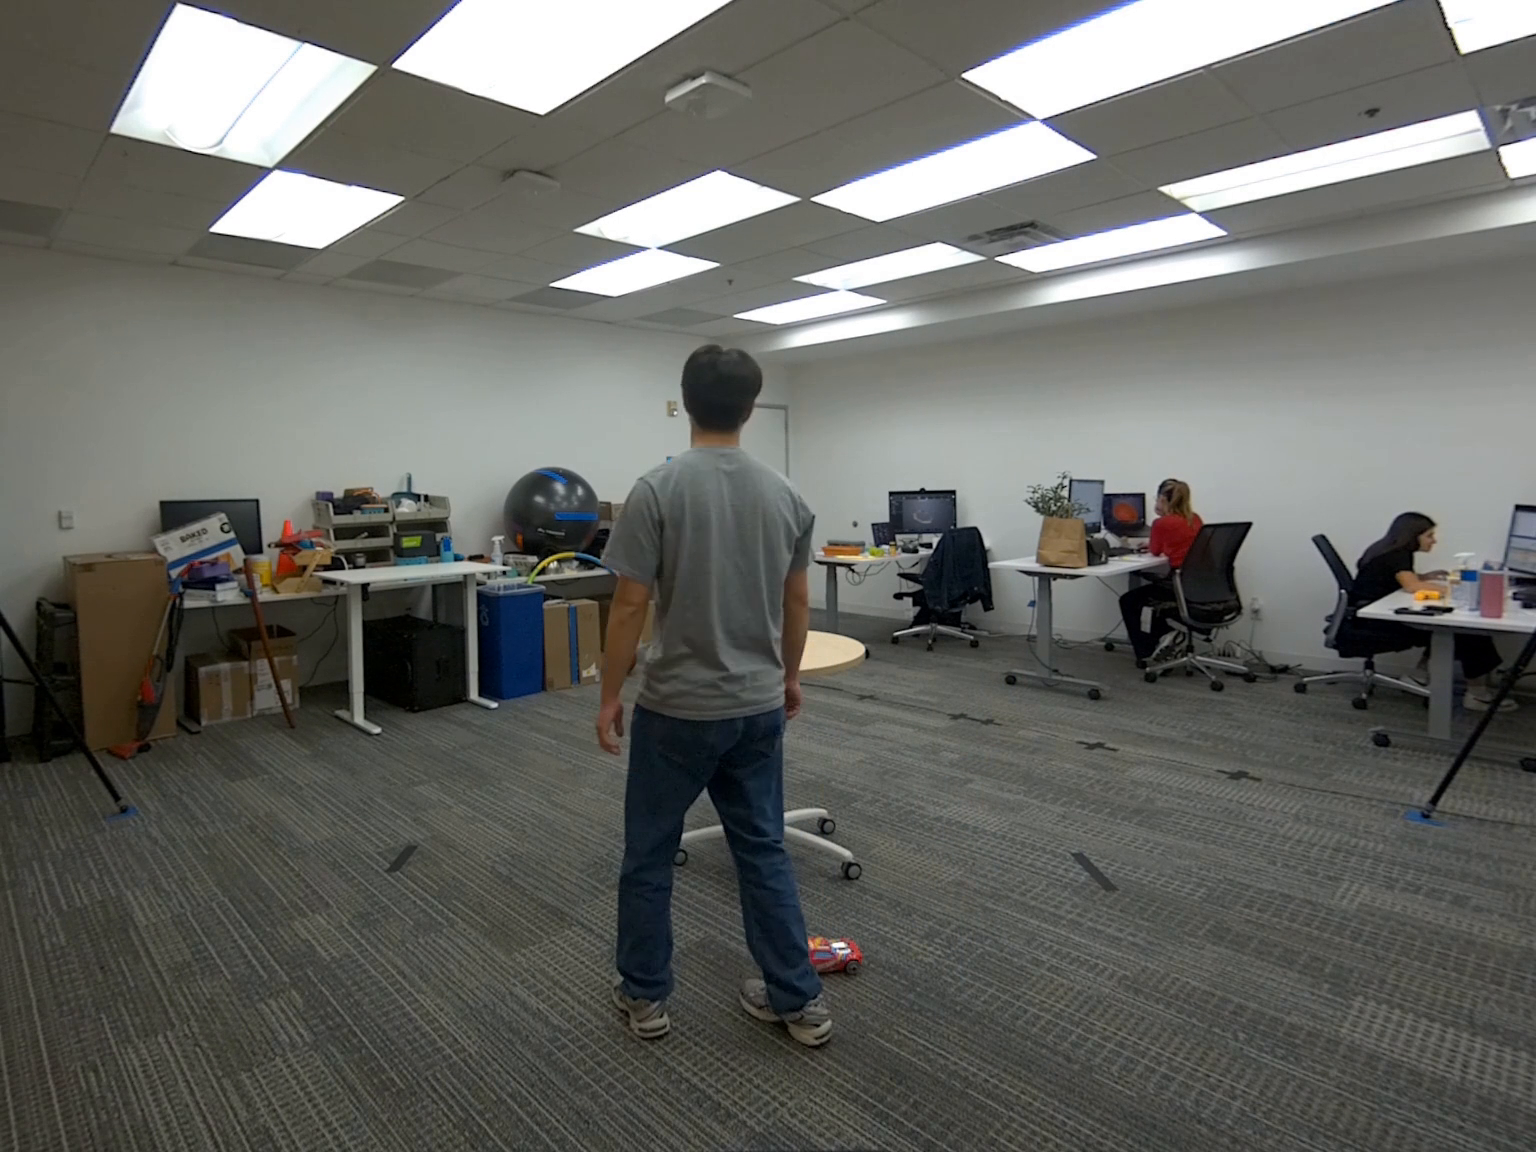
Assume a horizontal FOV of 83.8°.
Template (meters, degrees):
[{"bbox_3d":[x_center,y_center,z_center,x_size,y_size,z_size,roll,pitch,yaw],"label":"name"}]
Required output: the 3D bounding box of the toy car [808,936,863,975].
[{"bbox_3d":[0.140,1.089,2.434,0.251,0.083,0.132,9,4,-11],"label":"toy car"}]
